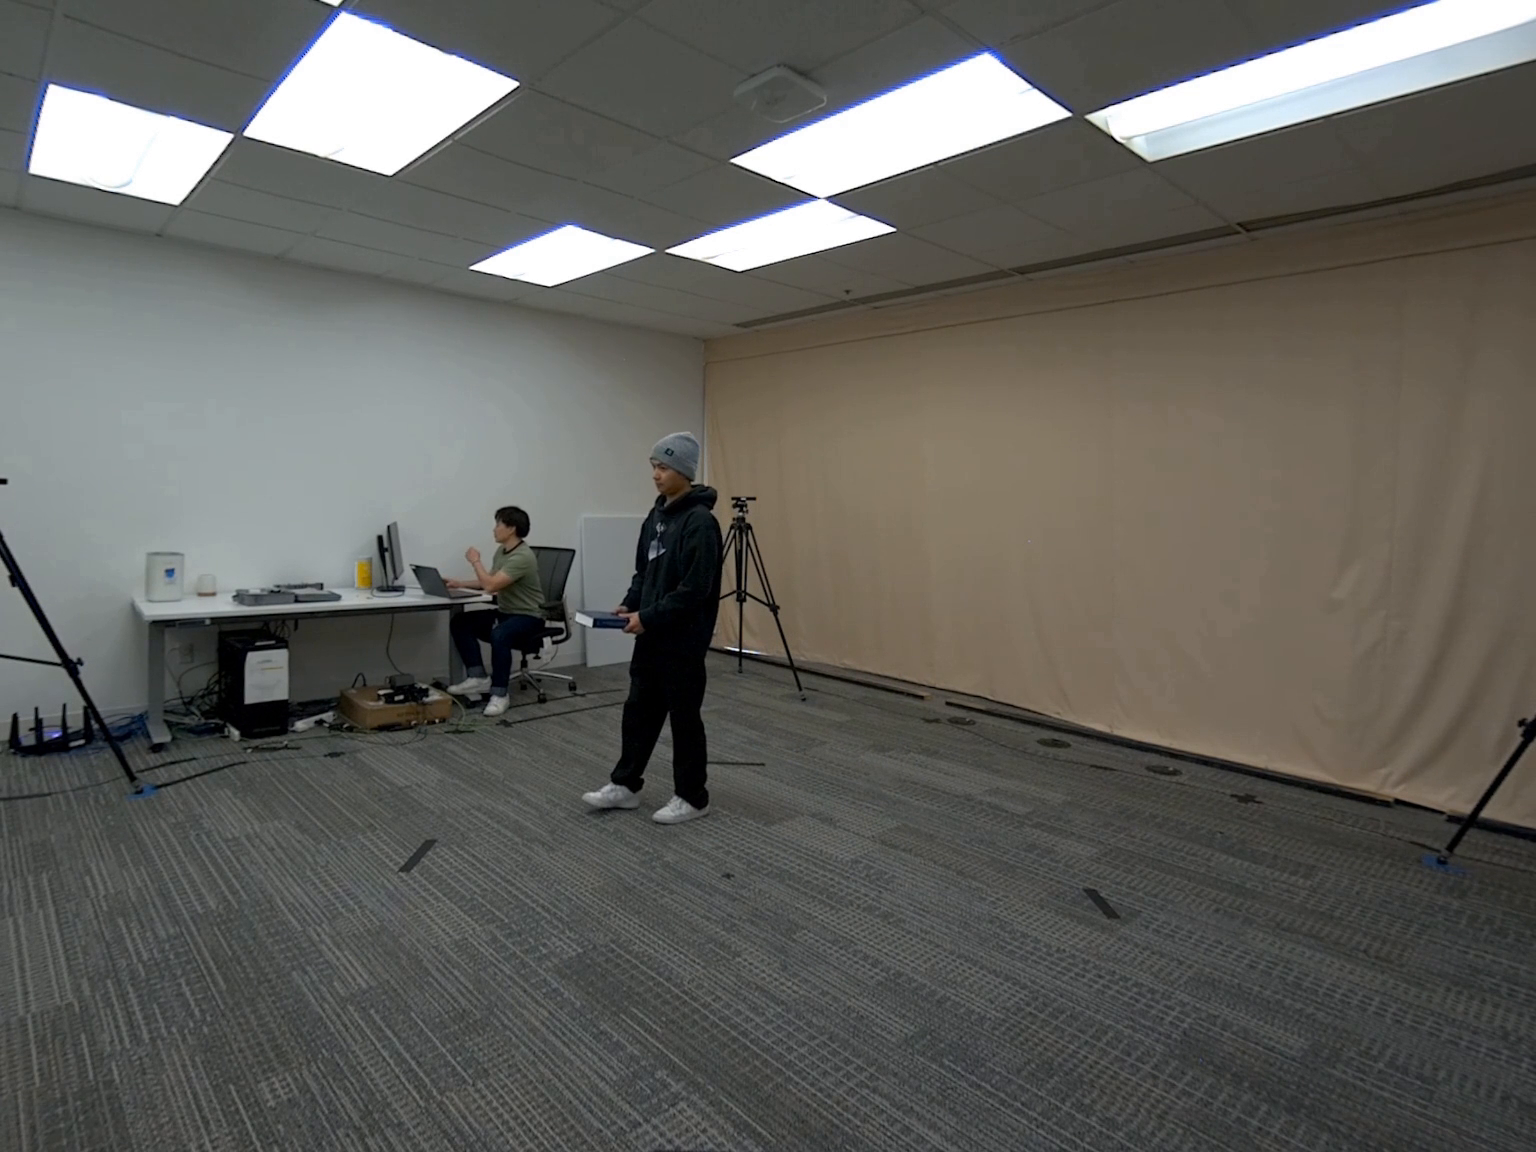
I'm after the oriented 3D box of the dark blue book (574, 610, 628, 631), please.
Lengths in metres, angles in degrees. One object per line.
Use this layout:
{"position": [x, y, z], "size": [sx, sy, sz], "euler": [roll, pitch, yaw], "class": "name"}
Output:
{"position": [-0.678, 0.181, 3.500], "size": [0.239, 0.045, 0.168], "euler": [5, 6, -39], "class": "dark blue book"}
